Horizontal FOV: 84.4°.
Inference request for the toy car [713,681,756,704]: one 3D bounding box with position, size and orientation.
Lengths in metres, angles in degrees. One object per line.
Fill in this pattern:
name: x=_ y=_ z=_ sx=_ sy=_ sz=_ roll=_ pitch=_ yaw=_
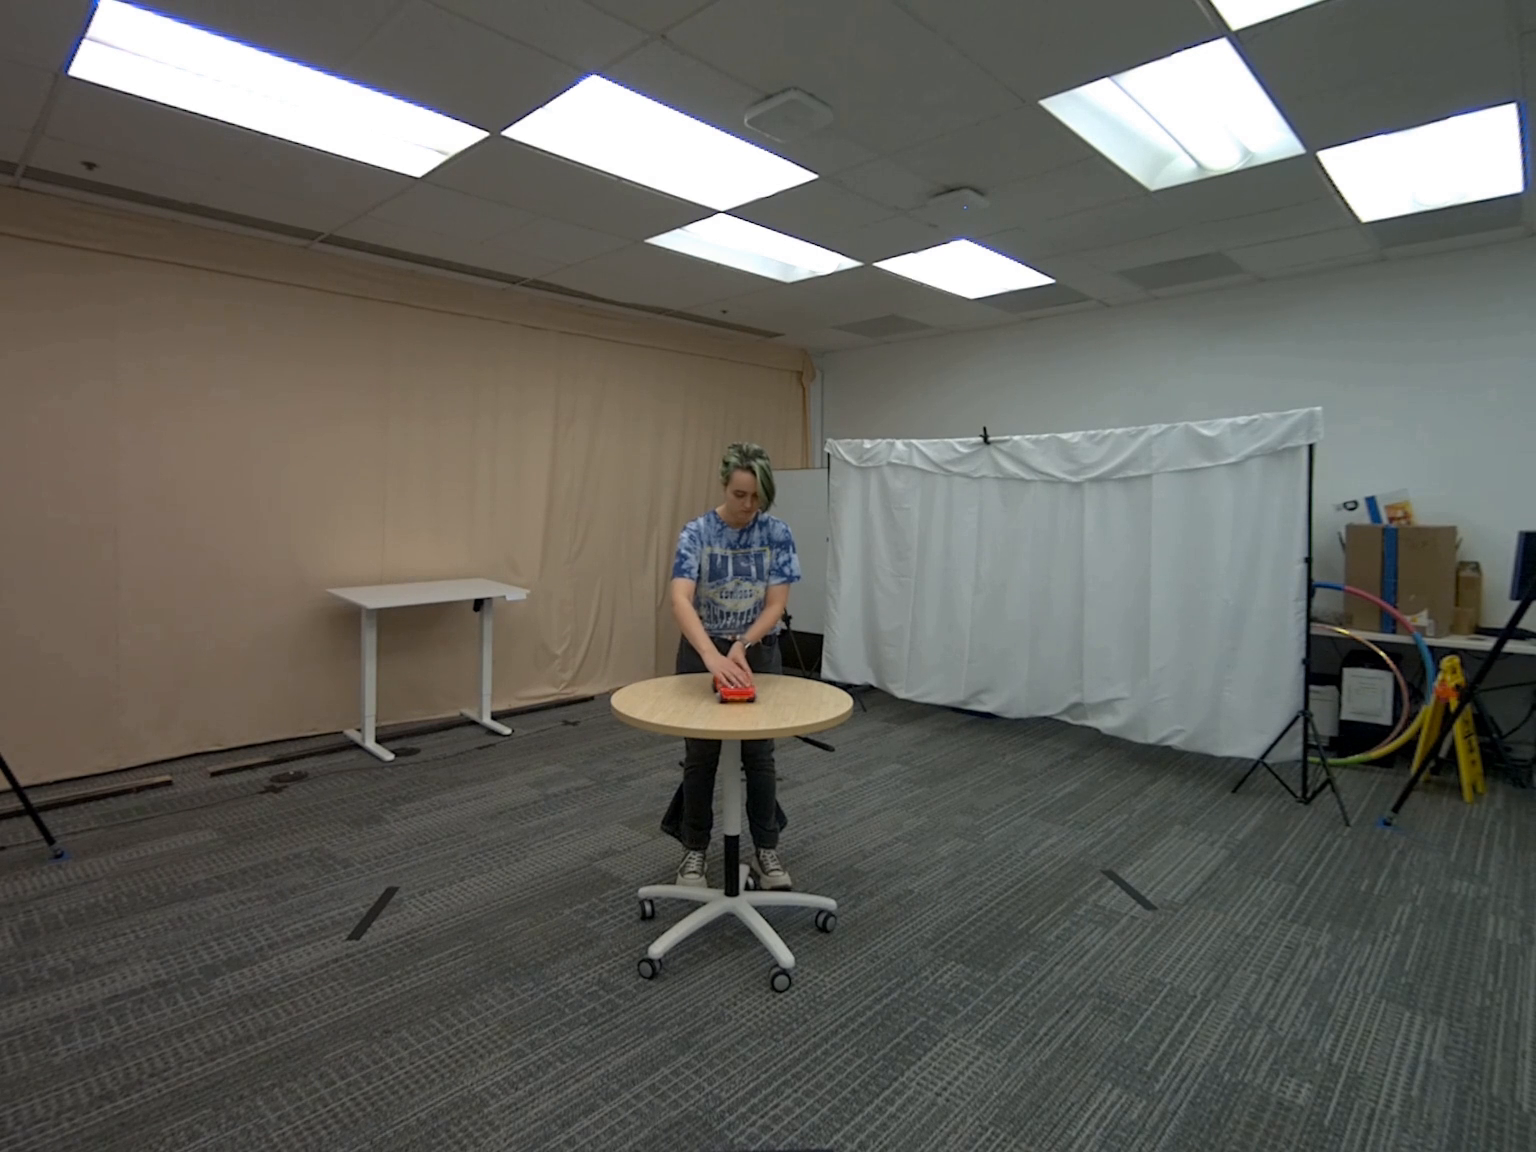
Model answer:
toy car: x=-0.115 y=0.350 z=2.704 sx=0.129 sy=0.082 sz=0.260 roll=-2 pitch=18 yaw=-10
